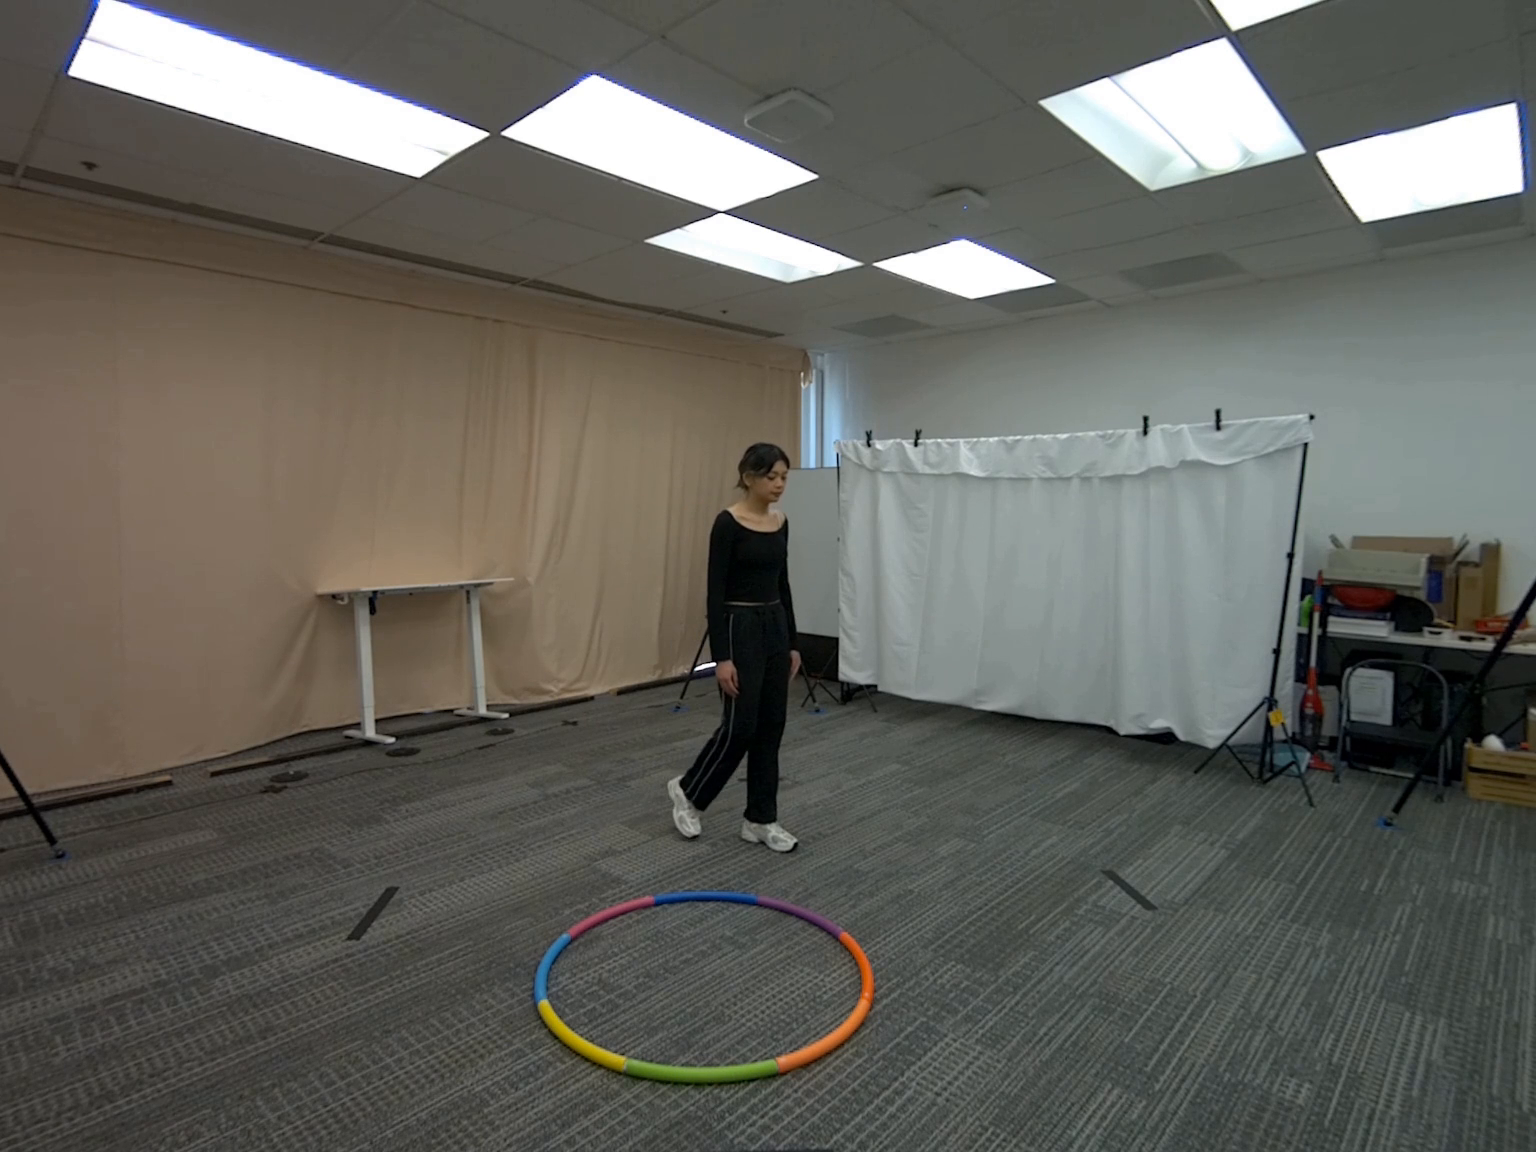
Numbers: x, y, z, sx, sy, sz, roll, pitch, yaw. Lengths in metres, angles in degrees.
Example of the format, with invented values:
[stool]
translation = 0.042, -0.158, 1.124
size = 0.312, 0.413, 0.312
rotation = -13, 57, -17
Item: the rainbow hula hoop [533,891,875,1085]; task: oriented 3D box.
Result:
[rainbow hula hoop]
translation = -0.183, 1.154, 2.508
size = 0.978, 0.035, 0.982
rotation = 0, 5, -2
